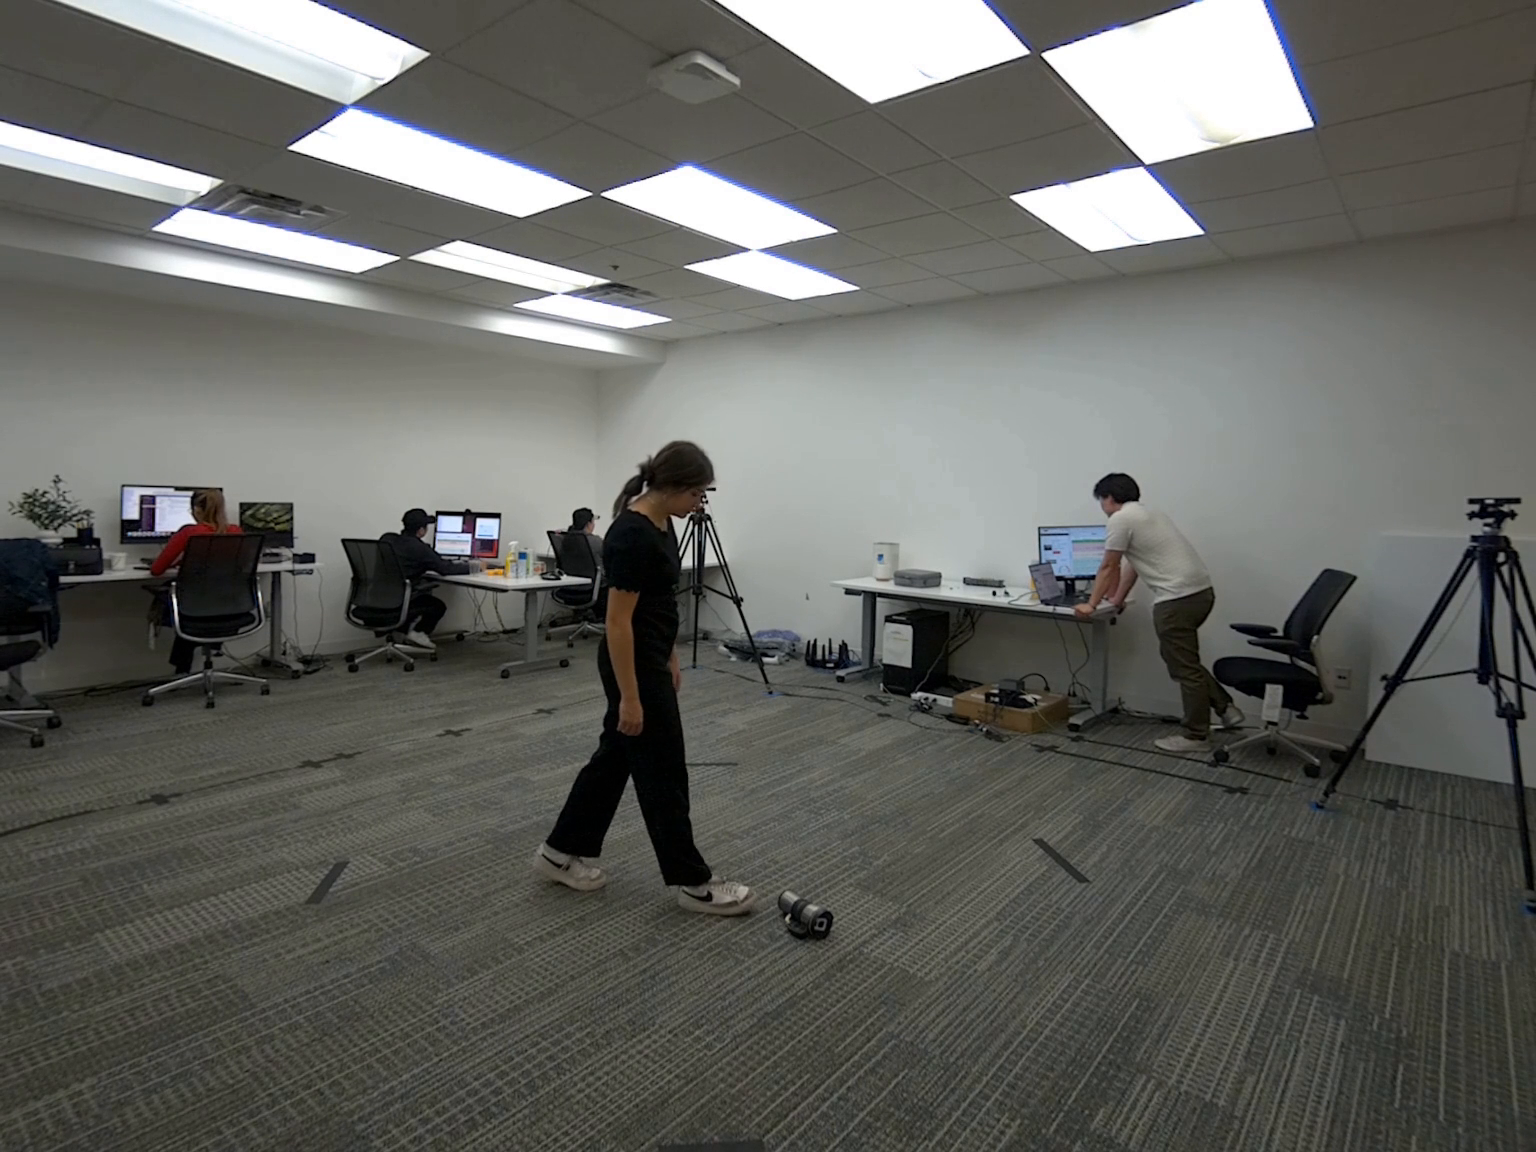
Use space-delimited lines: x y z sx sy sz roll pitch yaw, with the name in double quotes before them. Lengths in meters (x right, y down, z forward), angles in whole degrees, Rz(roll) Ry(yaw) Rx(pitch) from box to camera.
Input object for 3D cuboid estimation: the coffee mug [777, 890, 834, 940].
"coffee mug" 0.096 1.064 2.706 0.118 0.088 0.209 12 -4 -35
